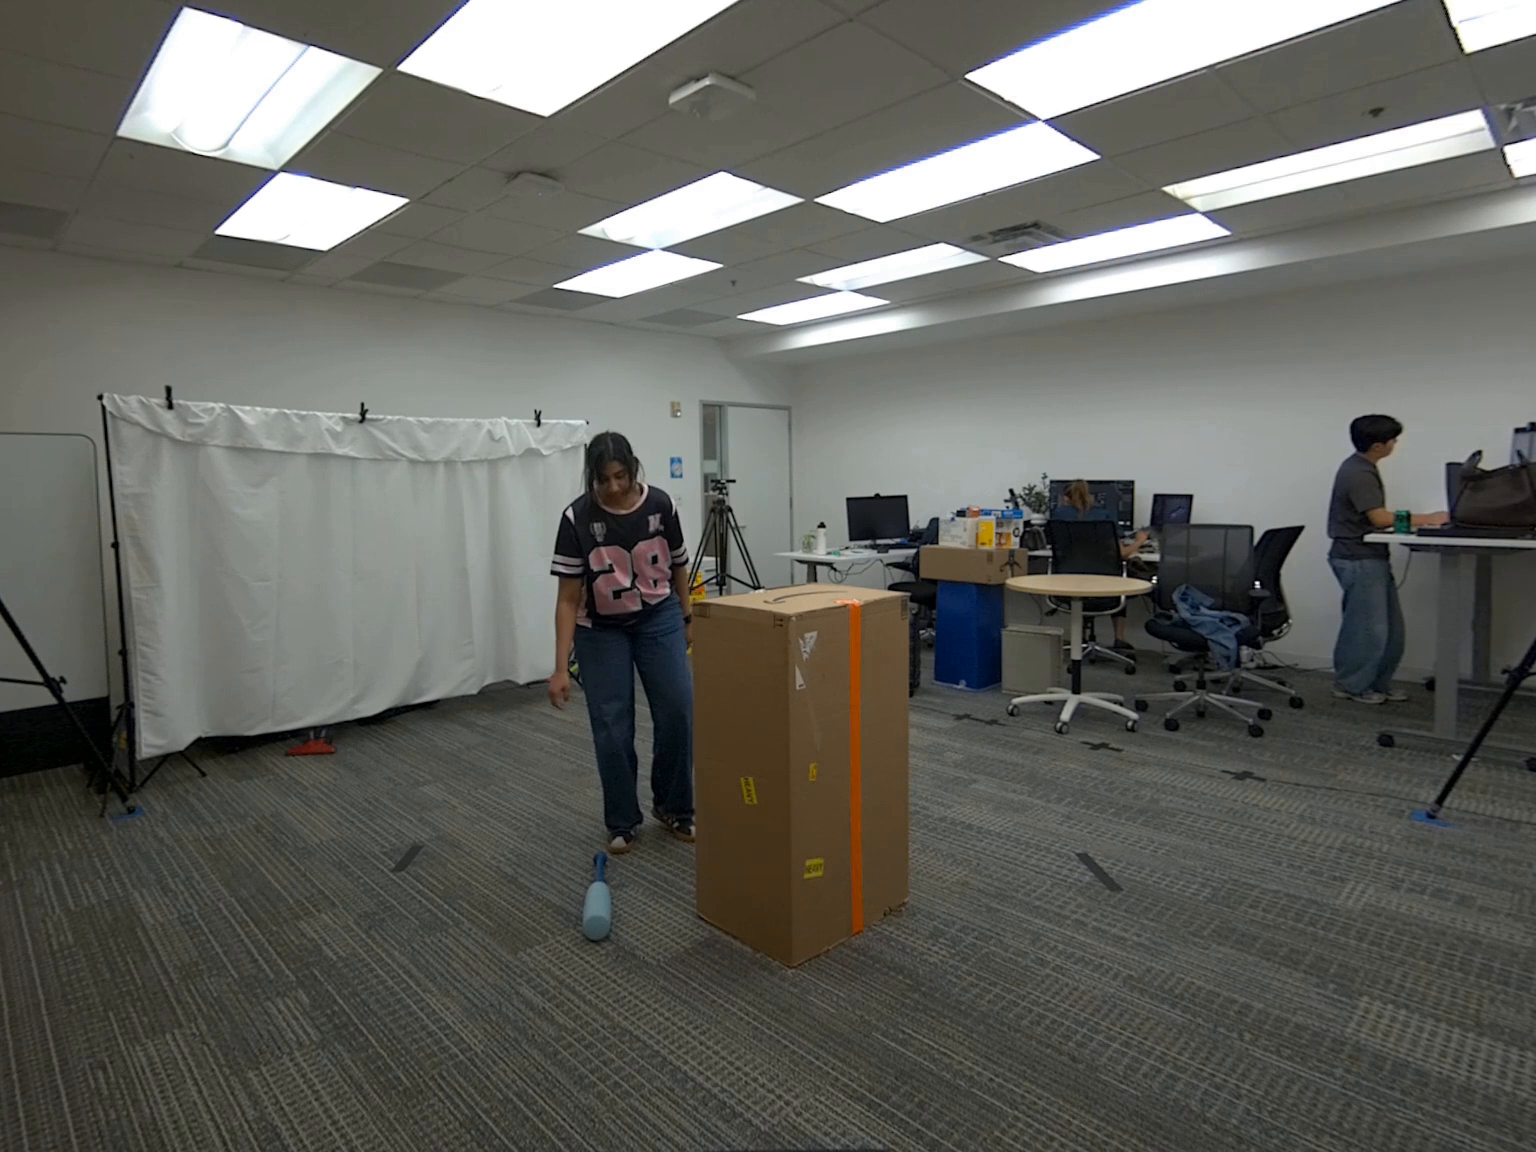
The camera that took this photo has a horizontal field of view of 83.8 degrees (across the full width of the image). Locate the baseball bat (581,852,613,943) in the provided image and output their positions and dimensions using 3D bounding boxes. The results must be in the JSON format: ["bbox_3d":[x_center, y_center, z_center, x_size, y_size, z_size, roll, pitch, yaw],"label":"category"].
[{"bbox_3d":[-0.558,1.060,2.834,0.088,0.089,0.548,-2,4,-8],"label":"baseball bat"}]
